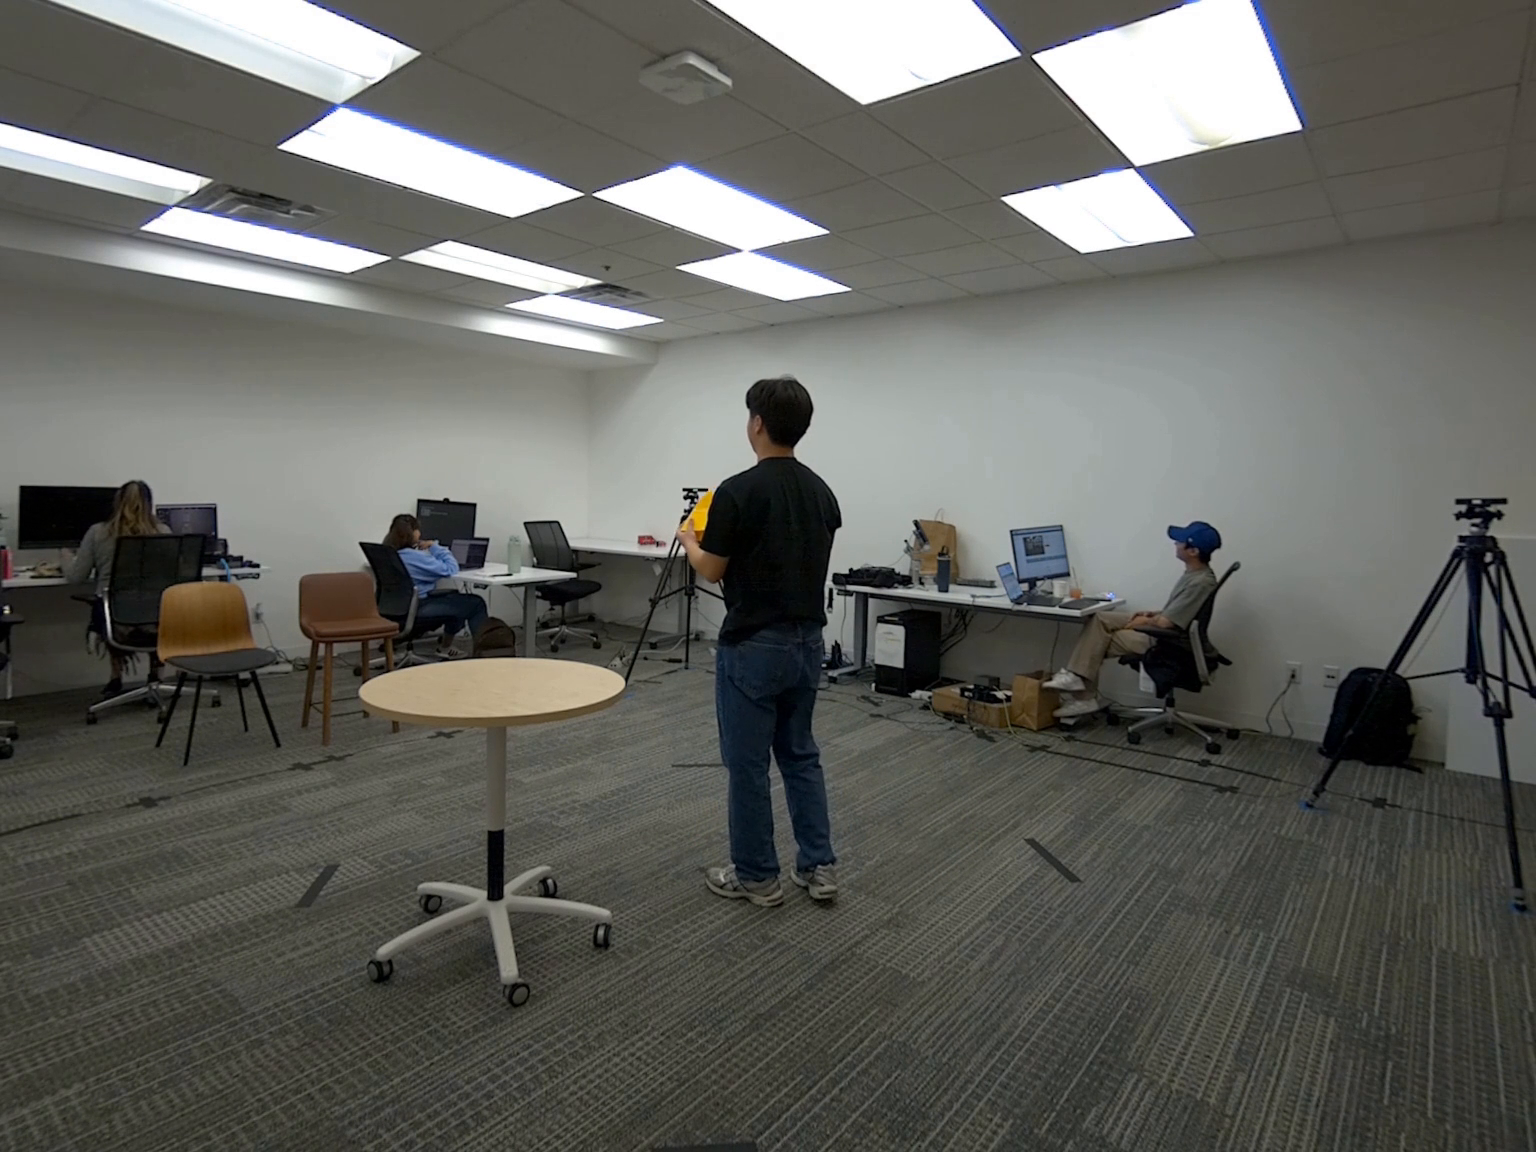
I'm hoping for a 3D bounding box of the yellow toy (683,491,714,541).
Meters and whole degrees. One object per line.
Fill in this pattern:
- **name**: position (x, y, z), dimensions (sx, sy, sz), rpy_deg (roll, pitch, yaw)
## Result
- **yellow toy**: position (-0.212, -0.209, 3.182), dimensions (0.206, 0.231, 0.191), rpy_deg (-1, -2, 7)
